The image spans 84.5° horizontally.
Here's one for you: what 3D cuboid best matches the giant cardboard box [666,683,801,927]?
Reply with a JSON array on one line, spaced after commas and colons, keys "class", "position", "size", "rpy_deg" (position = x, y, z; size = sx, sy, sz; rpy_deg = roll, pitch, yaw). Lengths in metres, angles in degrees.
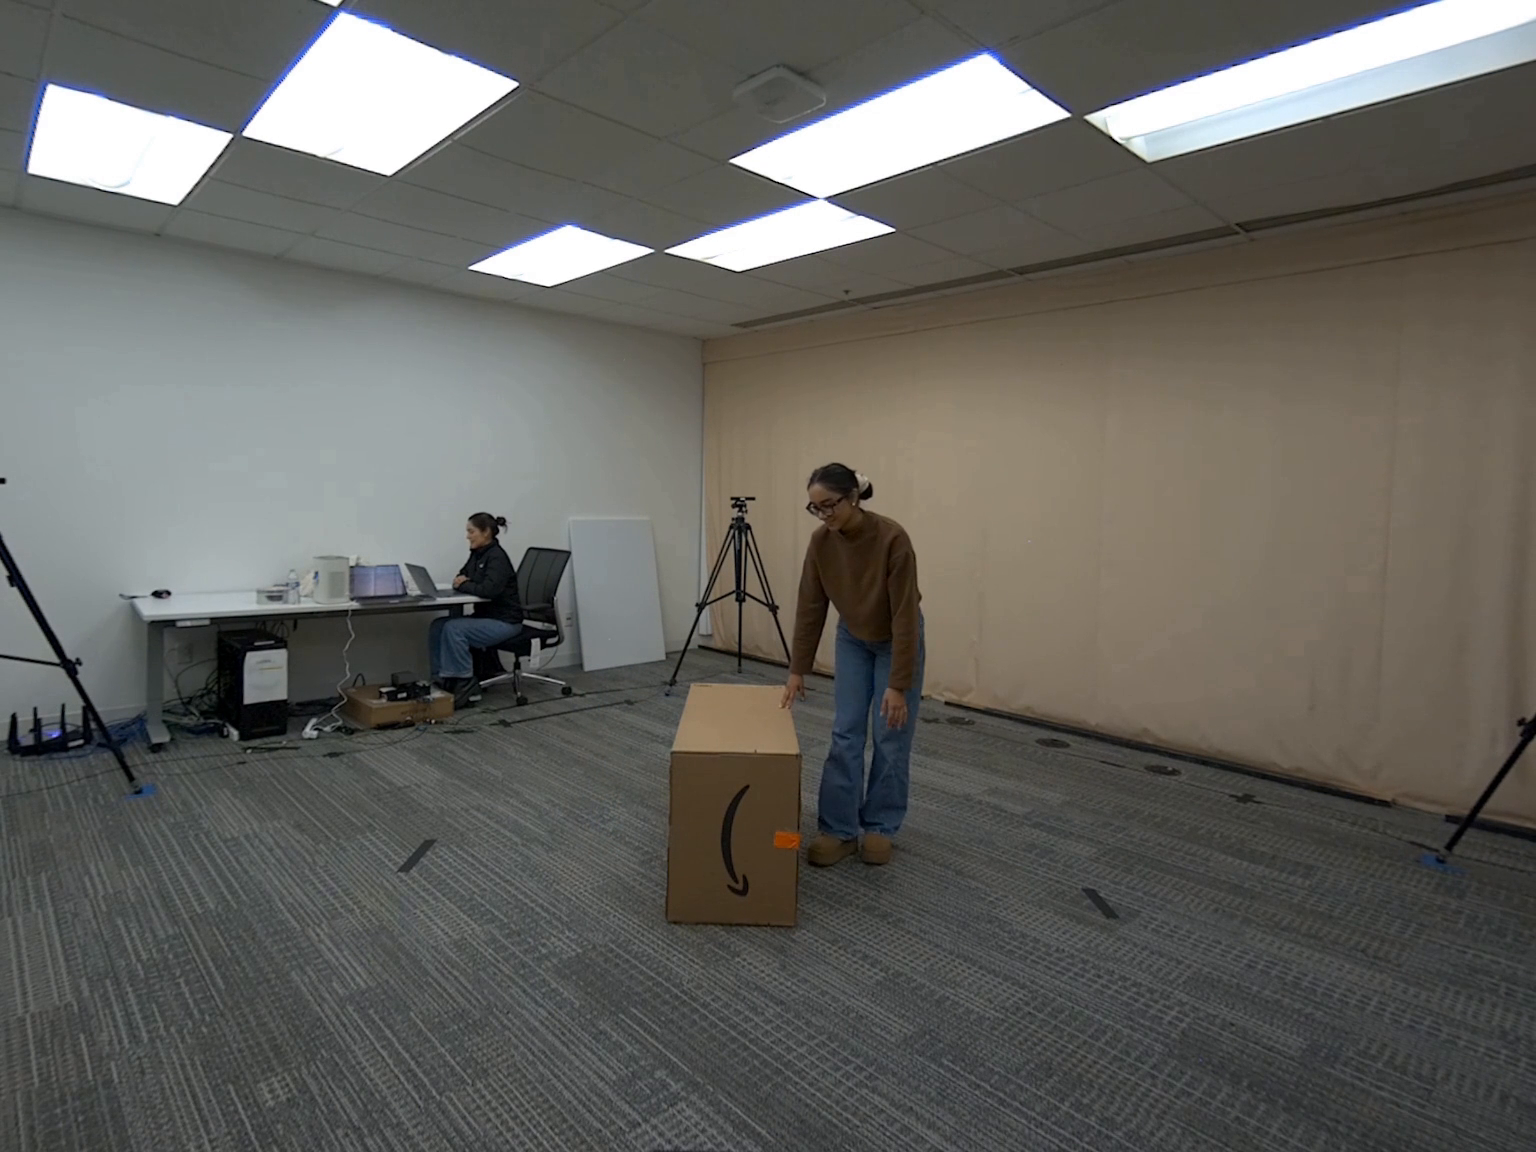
[{"class": "giant cardboard box", "position": [-0.129, 0.811, 3.233], "size": [0.447, 0.582, 1.030], "rpy_deg": [0, 5, -1]}]
